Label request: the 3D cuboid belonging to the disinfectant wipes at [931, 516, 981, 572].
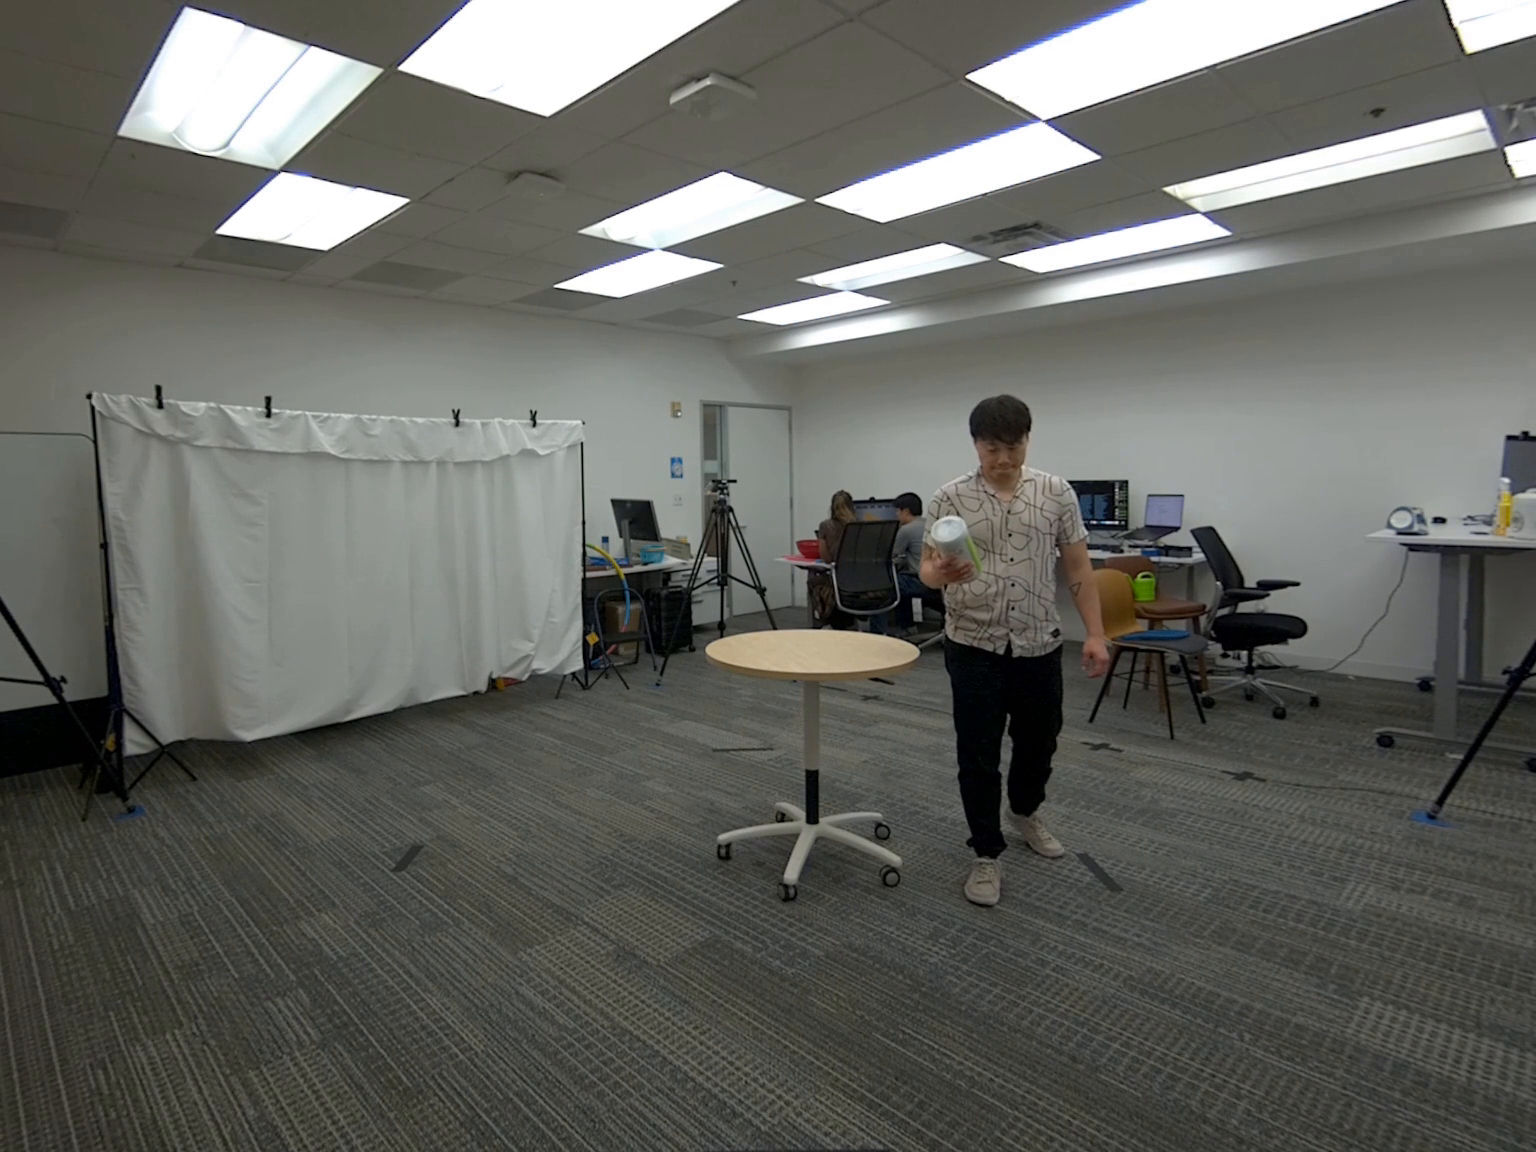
[{"bbox_3d":[0.603,-0.076,2.669,0.119,0.209,0.121,-17,43,14],"label":"disinfectant wipes"}]
